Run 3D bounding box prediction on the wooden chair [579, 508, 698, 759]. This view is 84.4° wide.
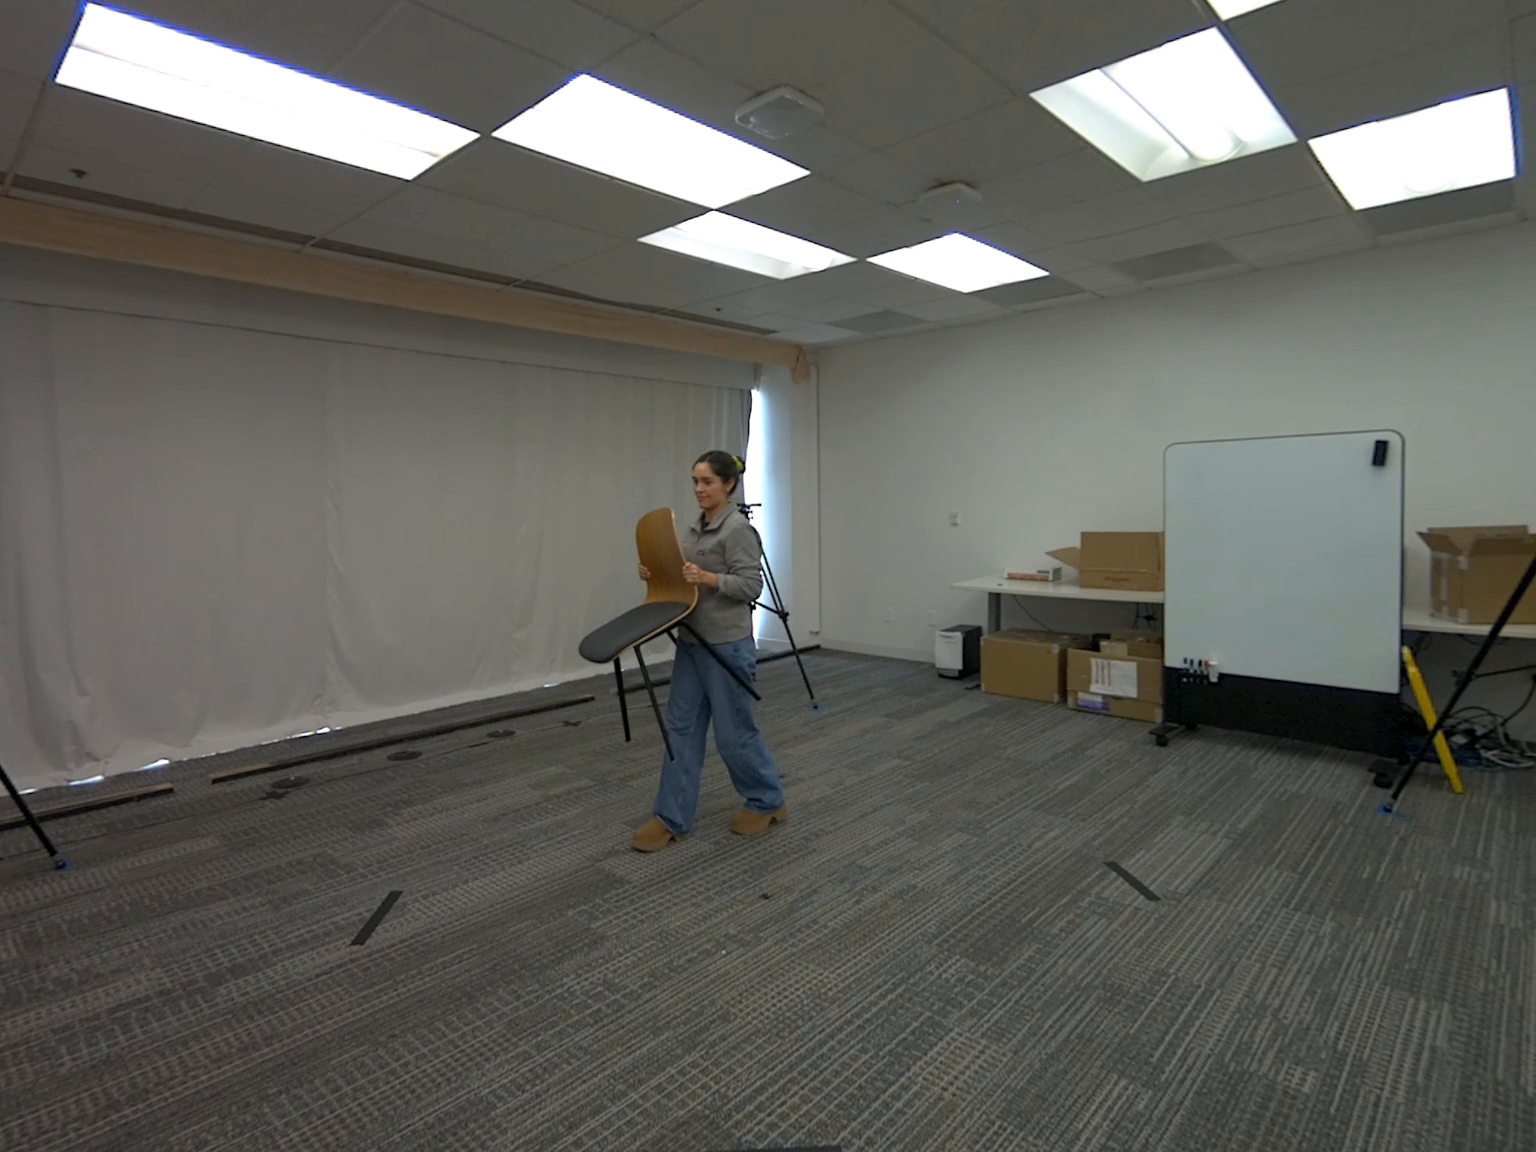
[{"bbox_3d":[-0.482,0.225,3.383,0.514,0.869,0.491,-24,11,-29],"label":"wooden chair"}]
